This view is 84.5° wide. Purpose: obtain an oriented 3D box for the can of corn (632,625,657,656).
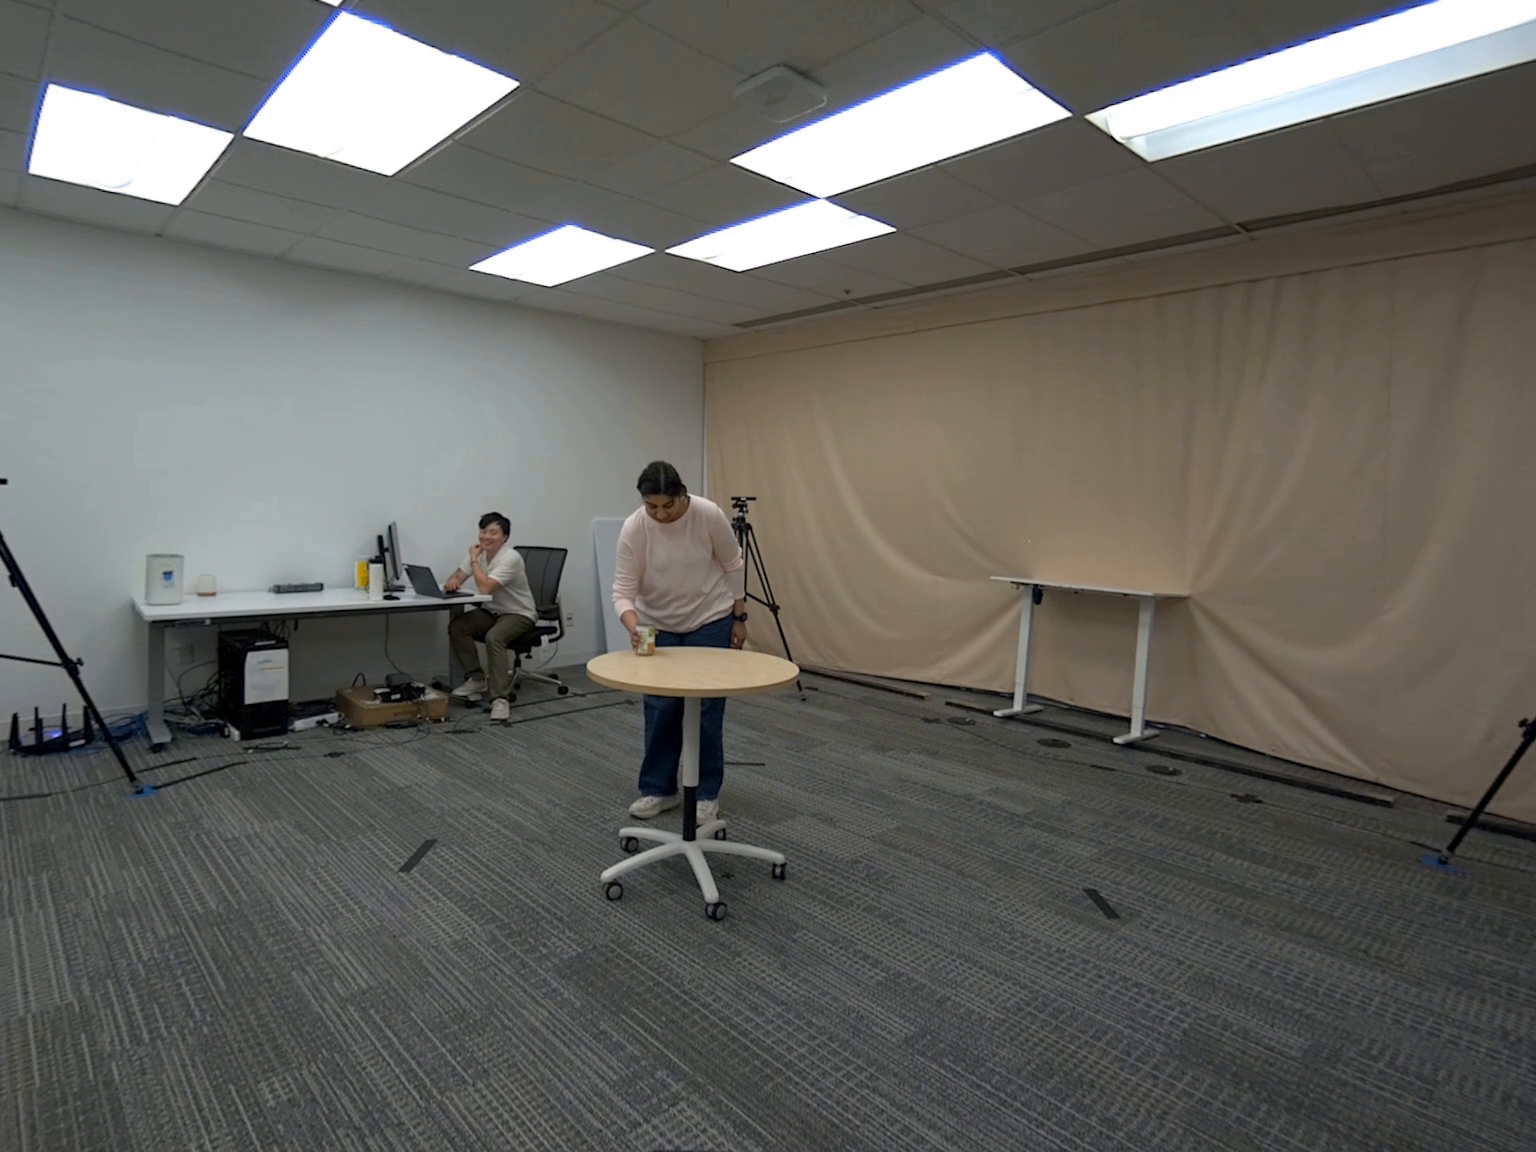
[{"bbox_3d":[-0.496,0.246,3.228,0.074,0.111,0.074,-2,1,-1],"label":"can of corn"}]
